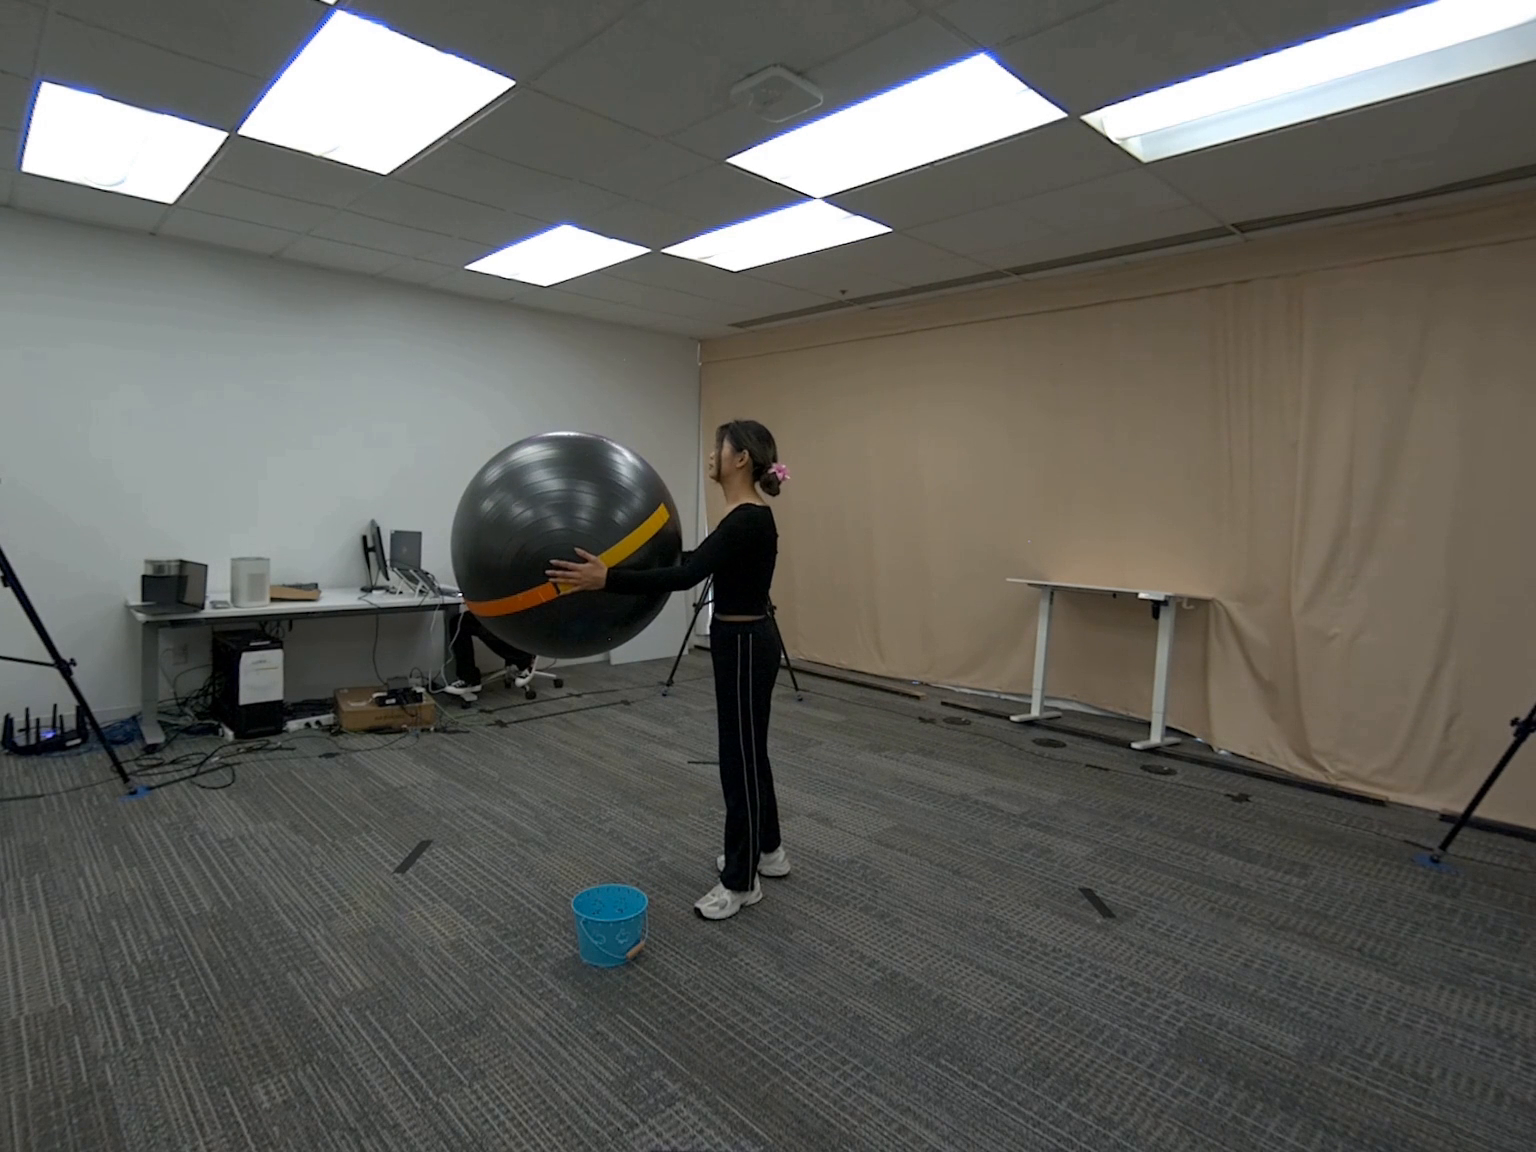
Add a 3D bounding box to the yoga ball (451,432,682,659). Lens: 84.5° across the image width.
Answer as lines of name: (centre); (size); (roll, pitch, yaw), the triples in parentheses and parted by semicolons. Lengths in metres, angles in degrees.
yoga ball: (-0.681, -0.100, 2.821); (0.757, 0.756, 0.761); (1, 4, -1)
